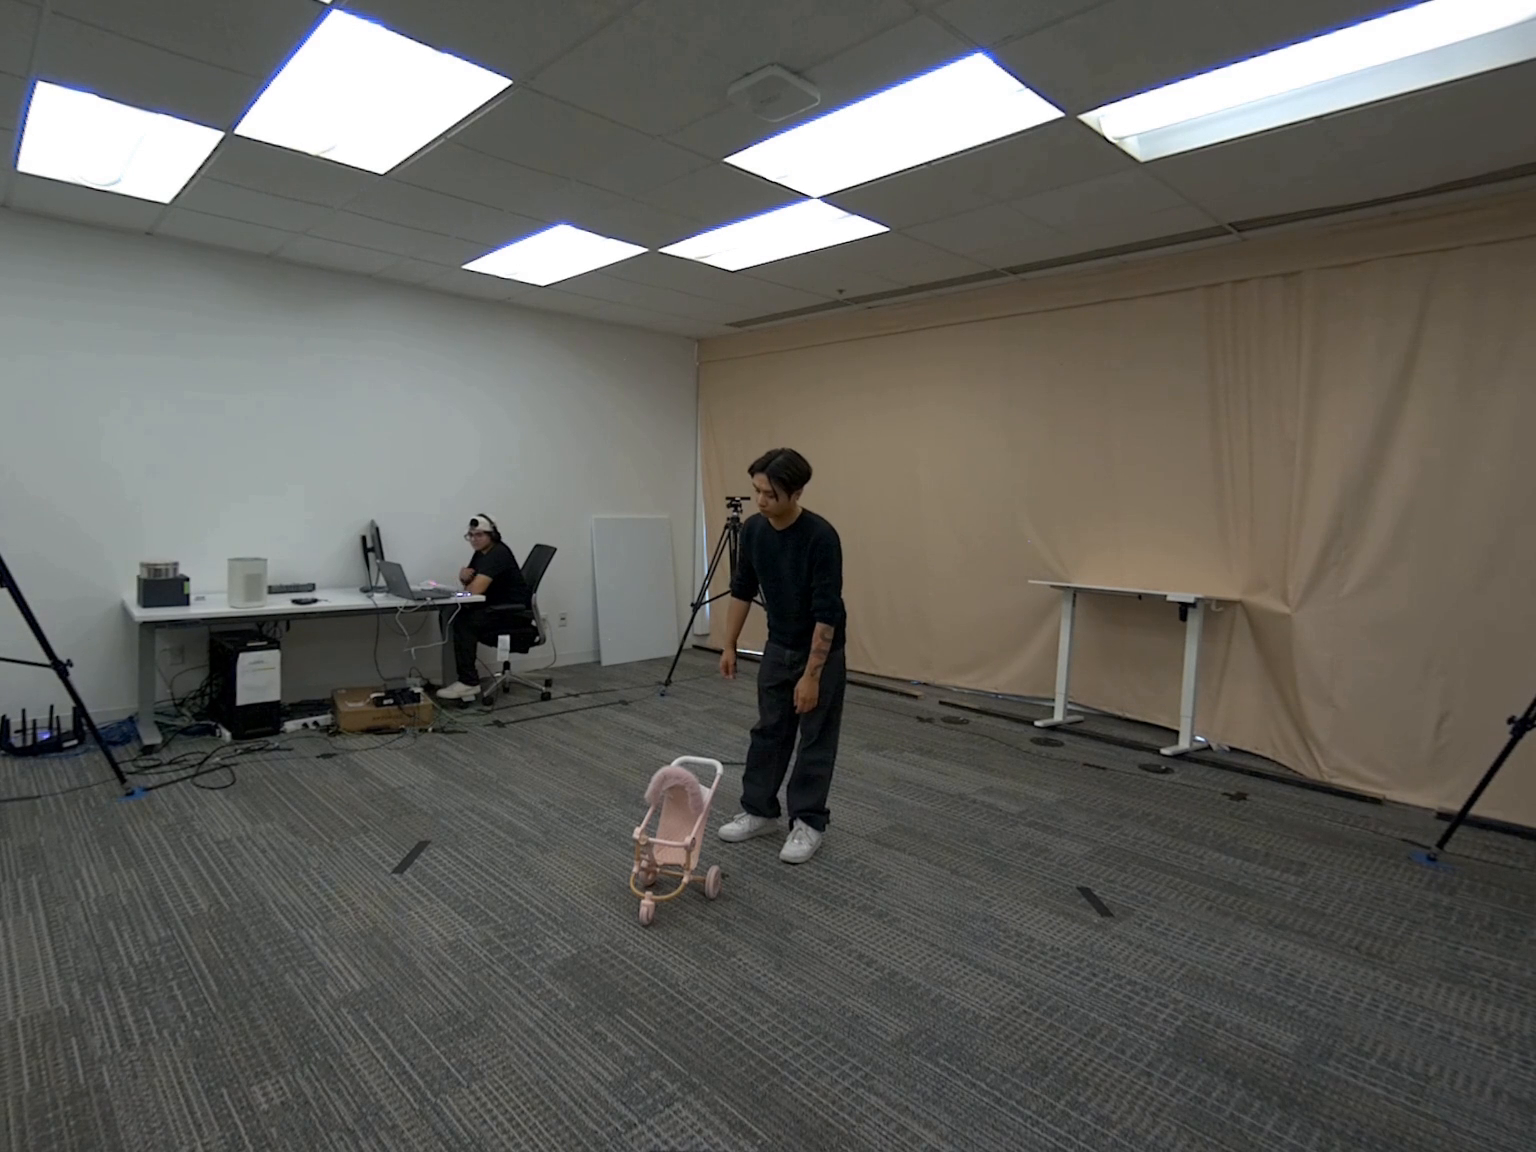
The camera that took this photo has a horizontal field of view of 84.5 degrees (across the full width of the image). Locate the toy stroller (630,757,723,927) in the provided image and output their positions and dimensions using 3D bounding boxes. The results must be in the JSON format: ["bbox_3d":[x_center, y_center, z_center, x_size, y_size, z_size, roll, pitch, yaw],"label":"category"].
[{"bbox_3d":[-0.335,0.898,2.905,0.287,0.539,0.332,2,-12,24],"label":"toy stroller"}]
